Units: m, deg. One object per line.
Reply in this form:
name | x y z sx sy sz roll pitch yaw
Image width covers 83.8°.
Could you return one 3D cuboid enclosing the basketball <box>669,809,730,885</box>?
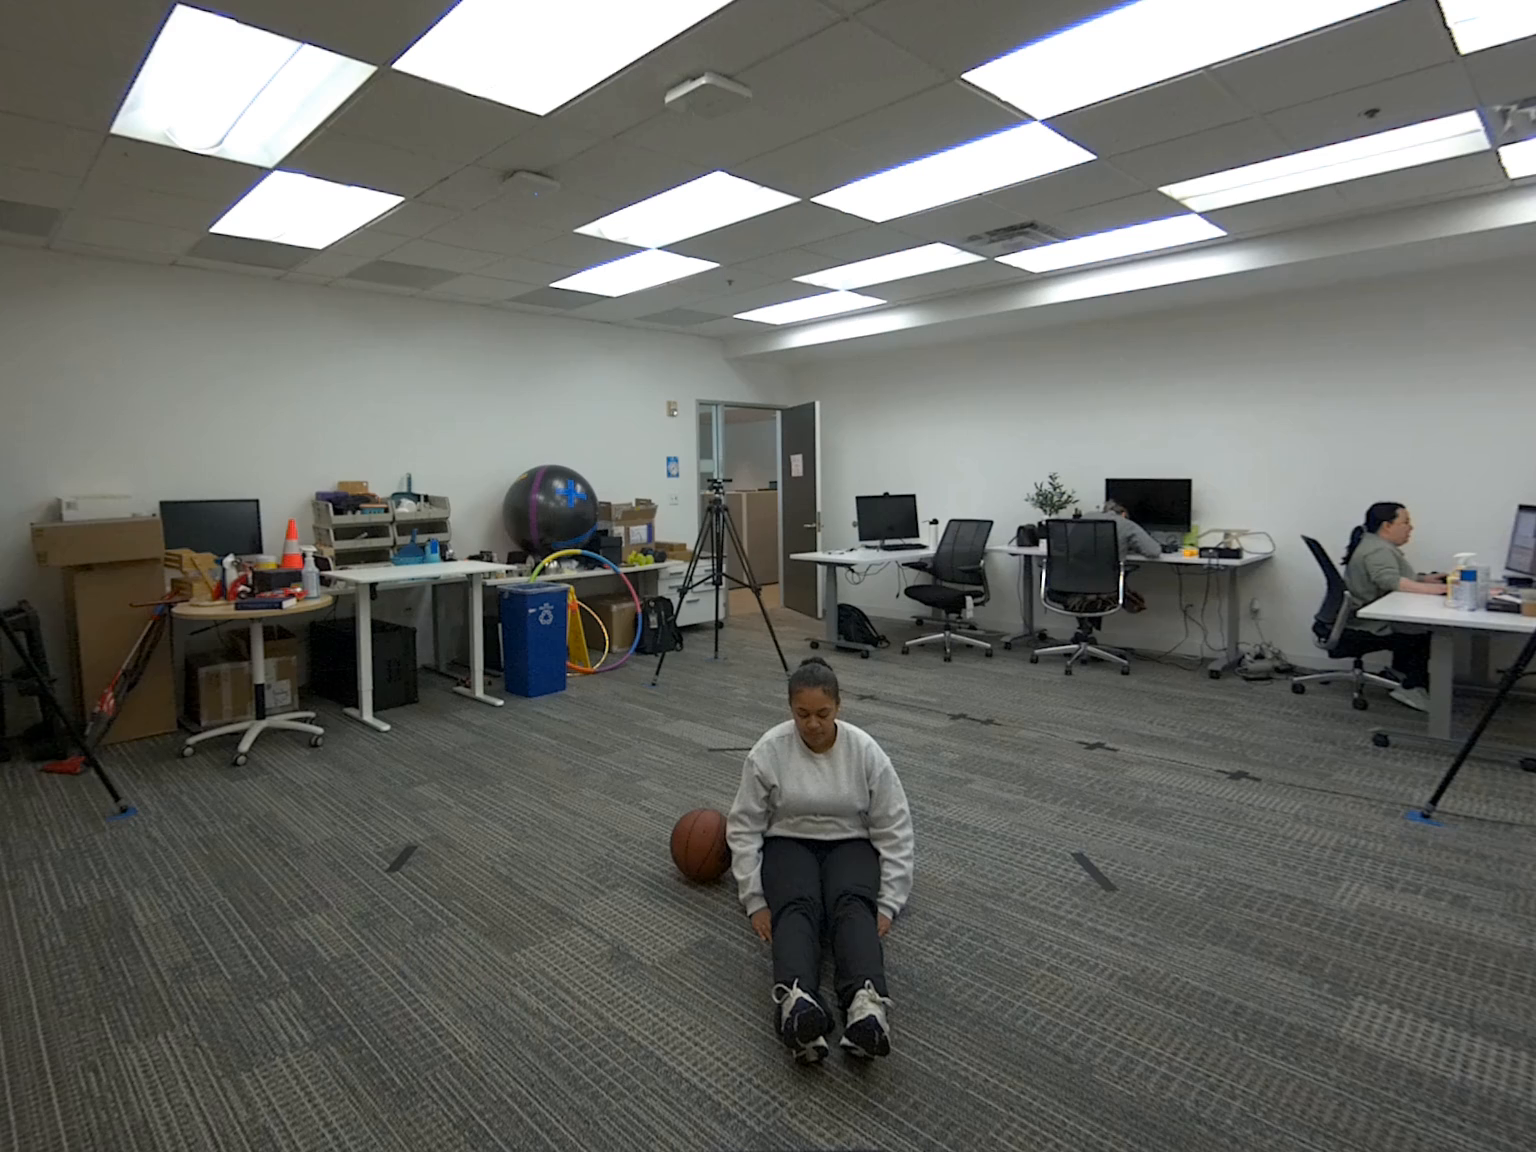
basketball | -0.222 0.938 2.996 0.236 0.235 0.237 -1 5 -2
